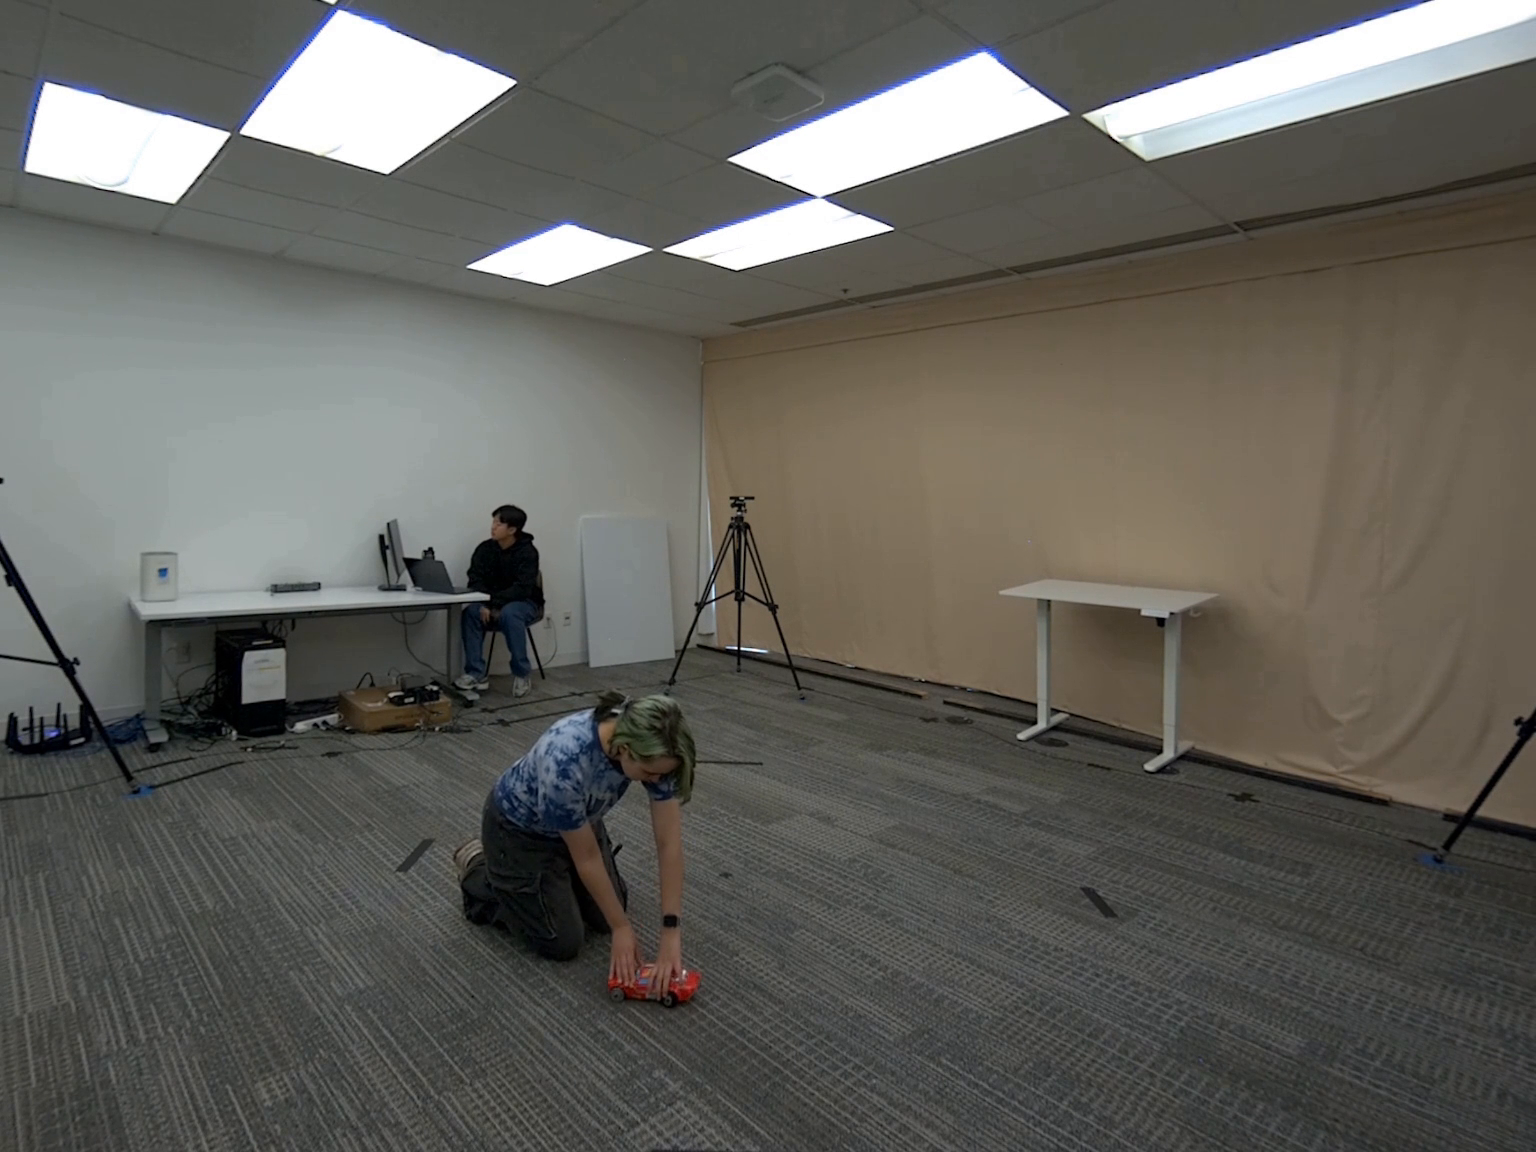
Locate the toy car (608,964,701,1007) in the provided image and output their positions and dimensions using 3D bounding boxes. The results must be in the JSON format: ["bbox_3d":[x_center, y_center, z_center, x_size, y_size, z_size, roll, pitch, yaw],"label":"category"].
[{"bbox_3d":[-0.315,1.142,2.336,0.256,0.083,0.130,-12,4,10],"label":"toy car"}]
